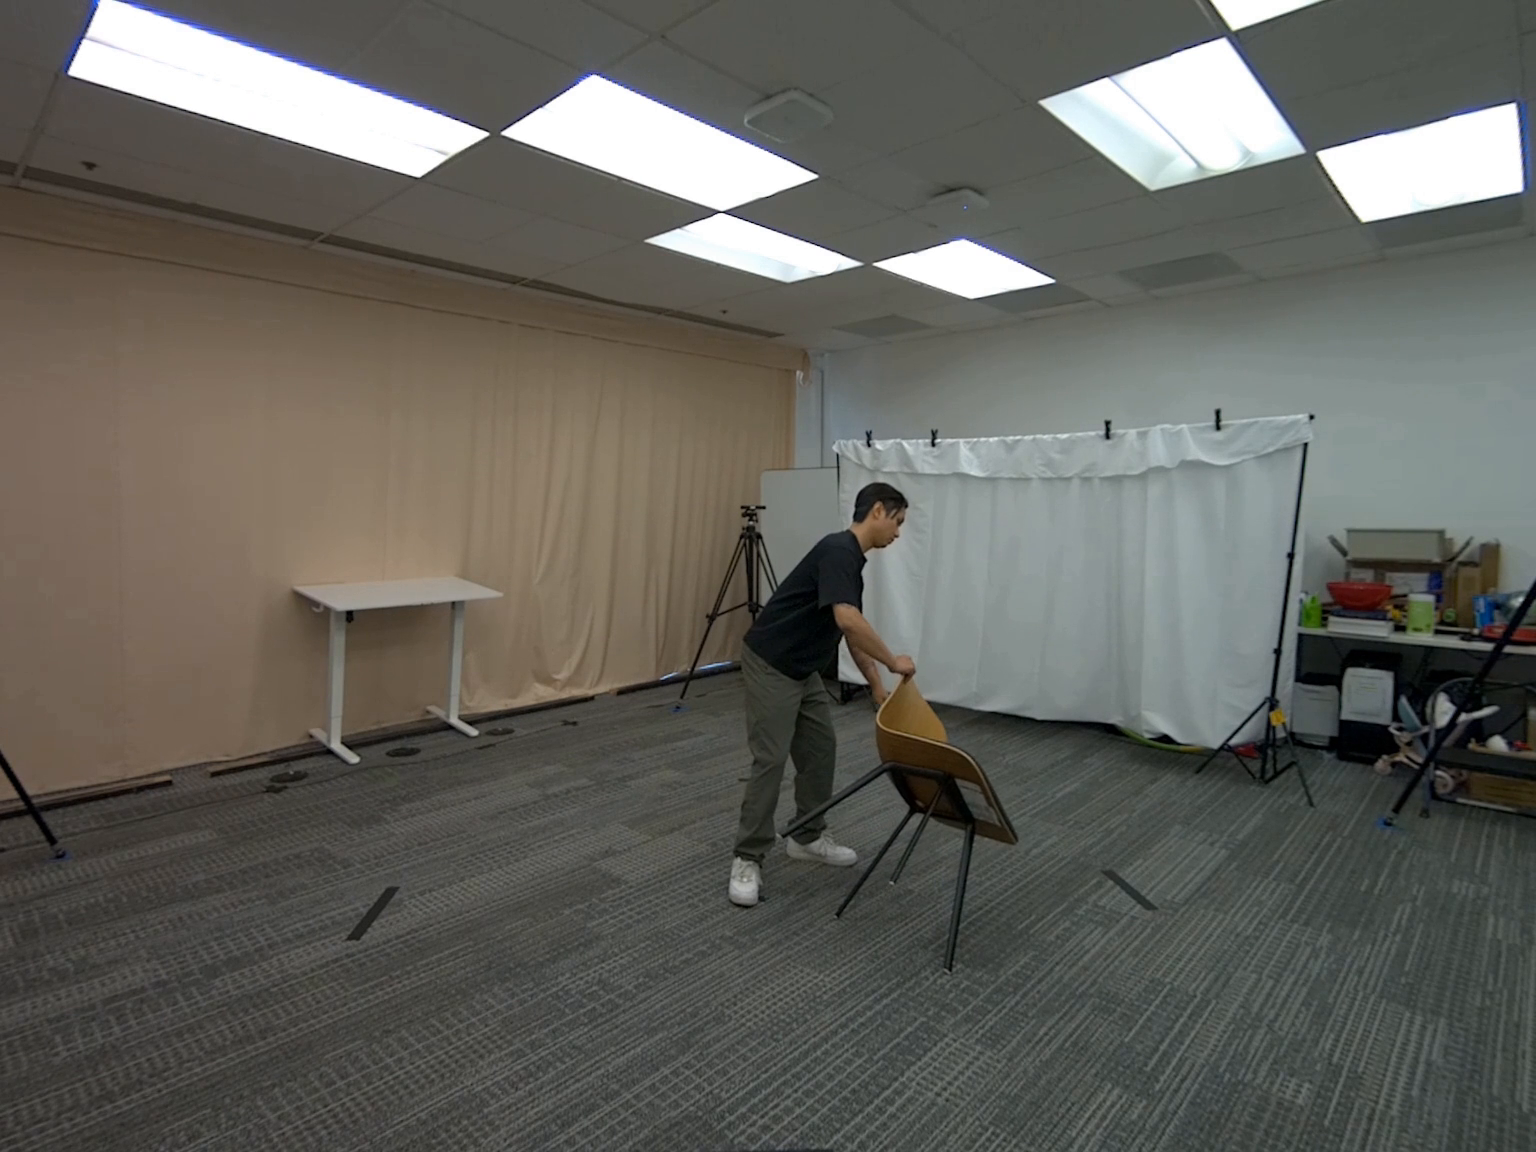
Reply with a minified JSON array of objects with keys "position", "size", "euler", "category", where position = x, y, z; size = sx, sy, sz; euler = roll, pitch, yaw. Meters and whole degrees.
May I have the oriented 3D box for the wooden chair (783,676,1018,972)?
[{"position":[0.539,0.726,2.773],"size":[0.540,0.466,0.872],"euler":[0,40,44],"category":"wooden chair"}]
